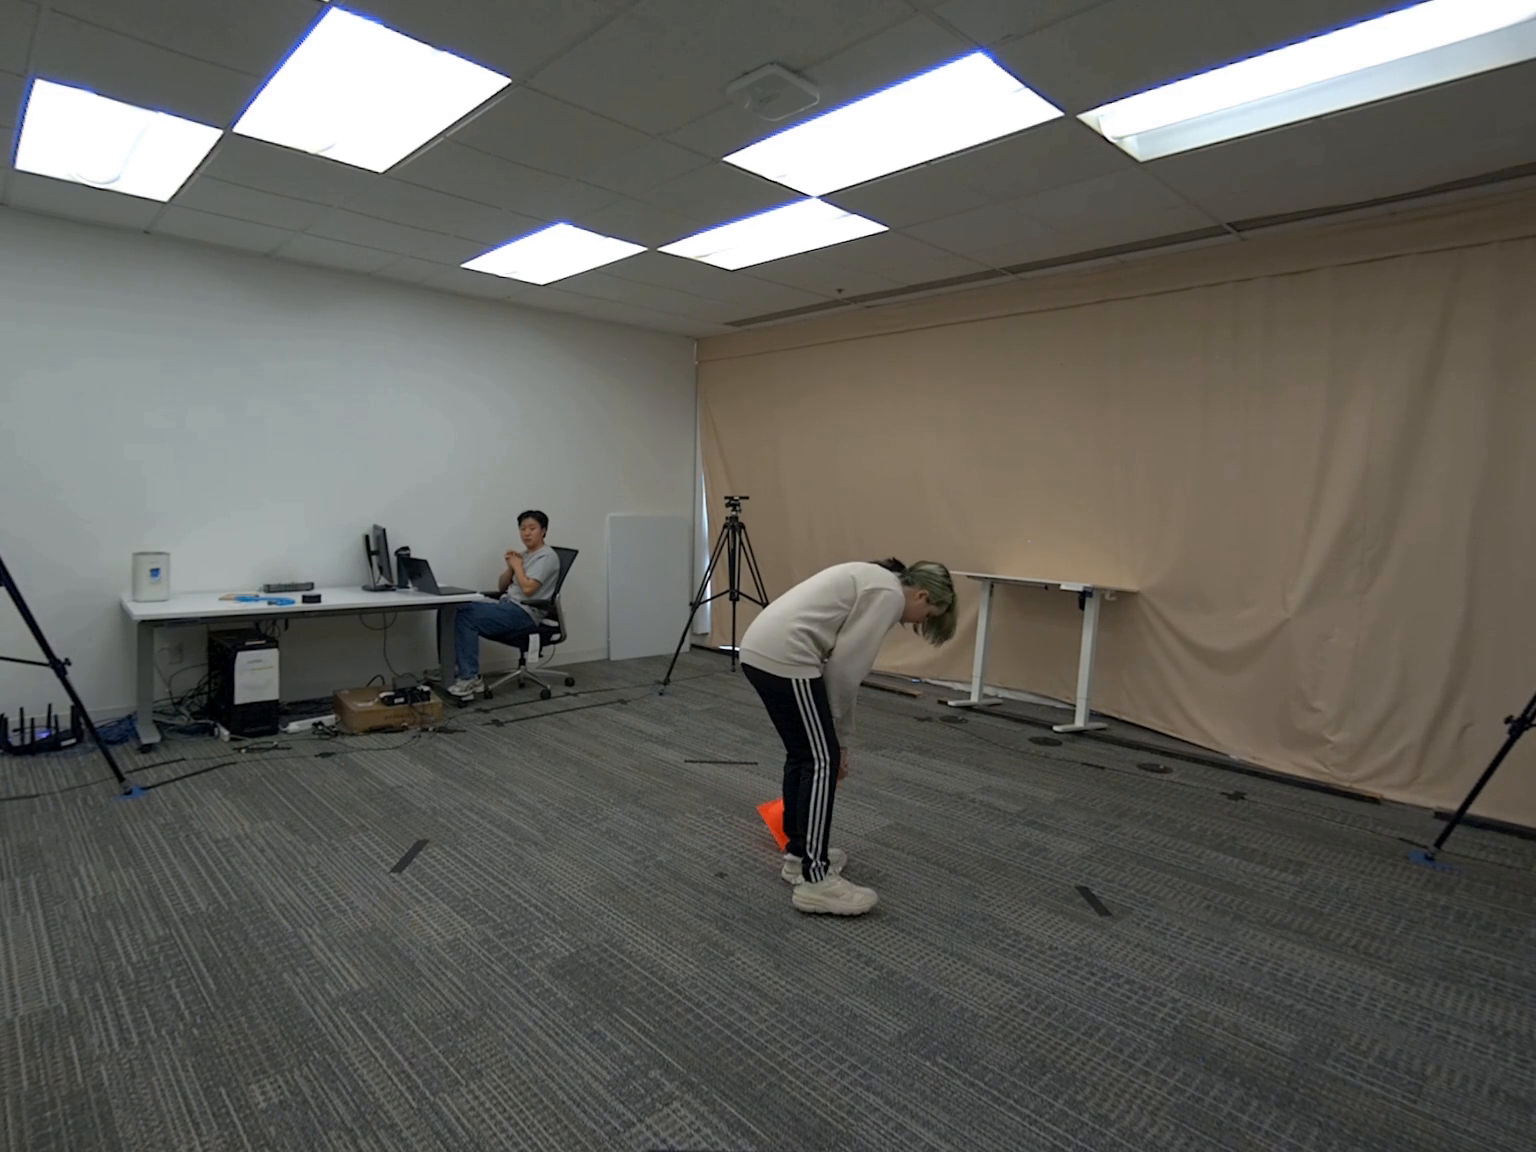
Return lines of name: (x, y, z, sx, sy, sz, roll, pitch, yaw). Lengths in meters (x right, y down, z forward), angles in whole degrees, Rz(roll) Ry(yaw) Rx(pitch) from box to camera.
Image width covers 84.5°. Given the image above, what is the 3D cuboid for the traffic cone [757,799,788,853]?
traffic cone: (0.174, 0.884, 3.338, 0.208, 0.383, 0.200, 51, 24, 21)
